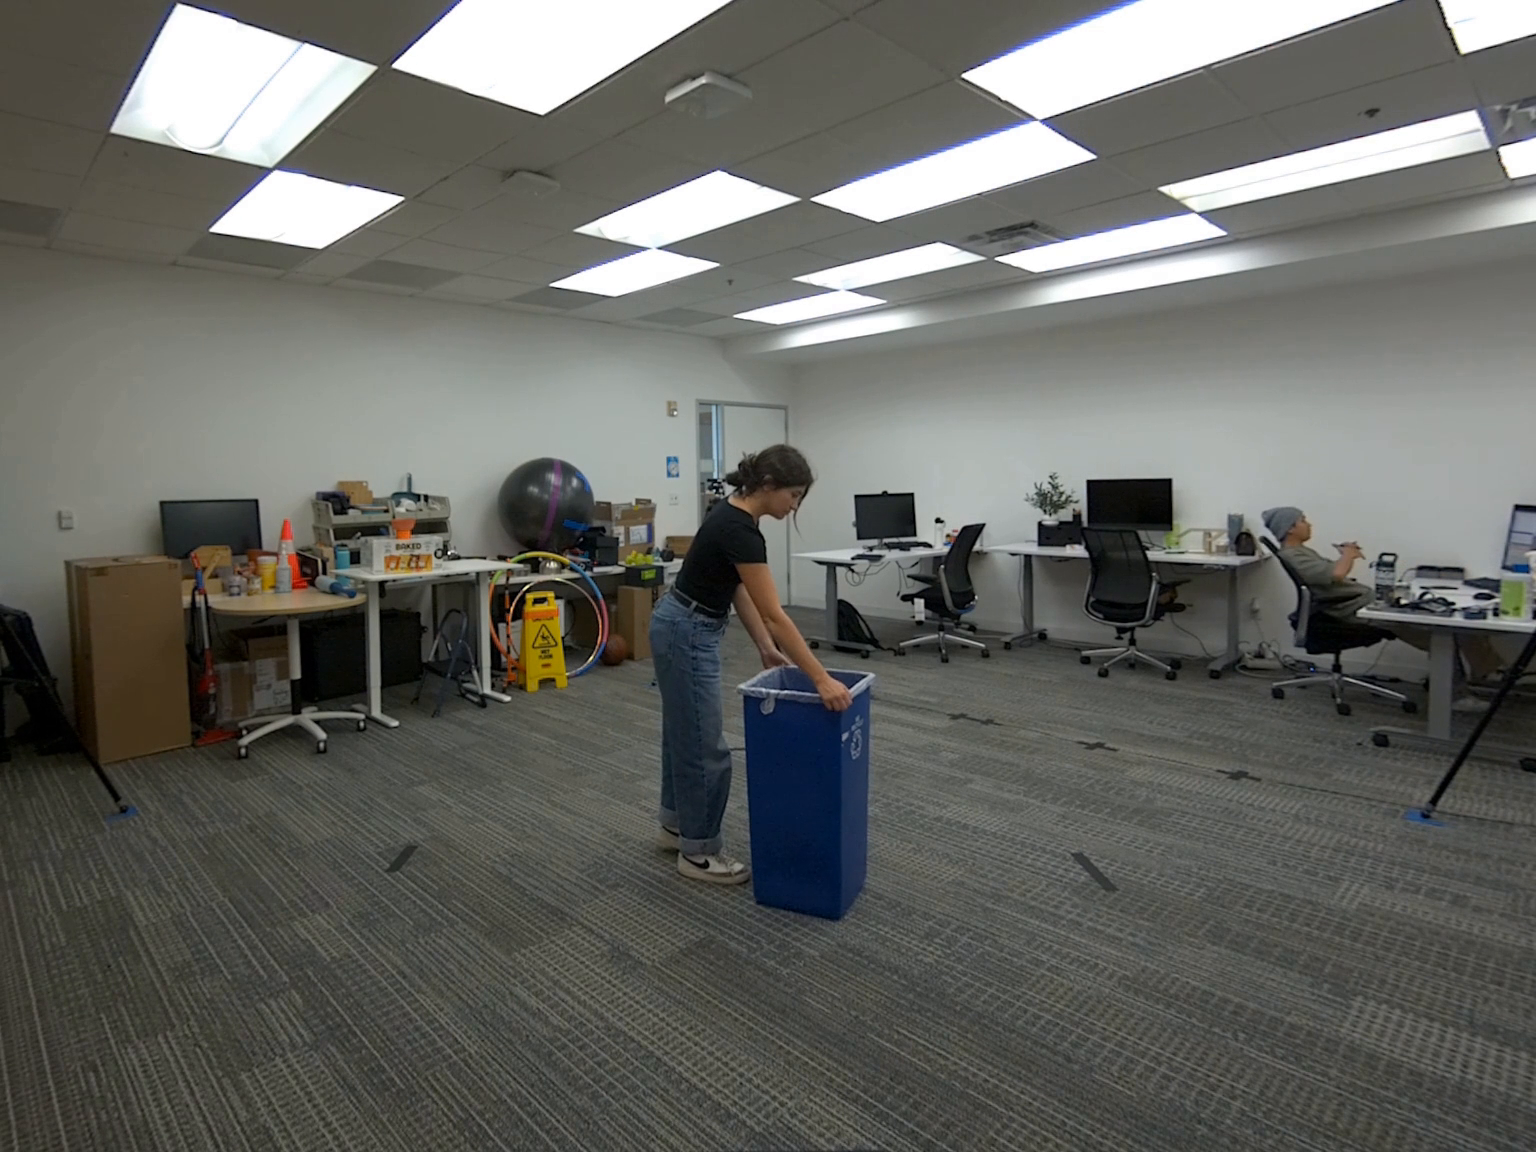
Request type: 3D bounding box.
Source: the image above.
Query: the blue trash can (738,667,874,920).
[{"bbox_3d":[0.142,0.692,2.865,0.387,0.711,0.367,0,5,25],"label":"blue trash can"}]
